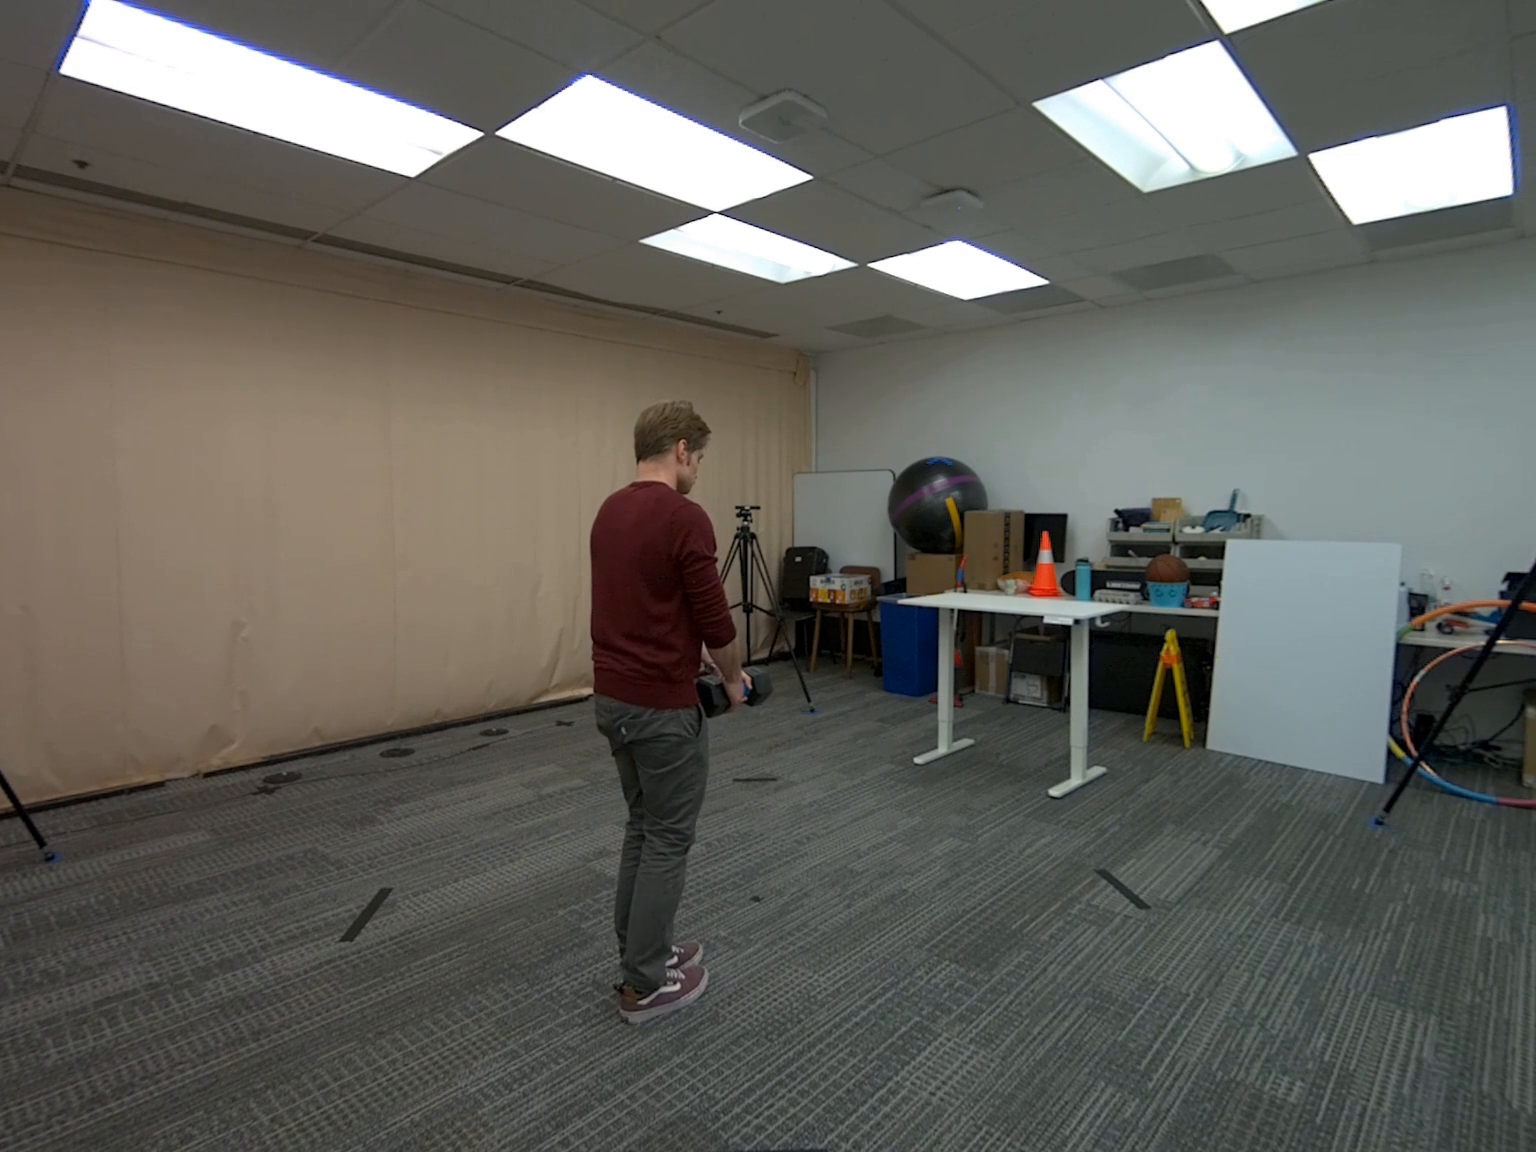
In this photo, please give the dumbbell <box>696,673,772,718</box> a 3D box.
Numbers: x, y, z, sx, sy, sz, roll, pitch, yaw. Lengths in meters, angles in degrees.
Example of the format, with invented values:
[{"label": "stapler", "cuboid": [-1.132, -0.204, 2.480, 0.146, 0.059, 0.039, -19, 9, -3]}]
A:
[{"label": "dumbbell", "cuboid": [-0.102, 0.351, 2.574, 0.285, 0.123, 0.112, -6, 49, -51]}]
